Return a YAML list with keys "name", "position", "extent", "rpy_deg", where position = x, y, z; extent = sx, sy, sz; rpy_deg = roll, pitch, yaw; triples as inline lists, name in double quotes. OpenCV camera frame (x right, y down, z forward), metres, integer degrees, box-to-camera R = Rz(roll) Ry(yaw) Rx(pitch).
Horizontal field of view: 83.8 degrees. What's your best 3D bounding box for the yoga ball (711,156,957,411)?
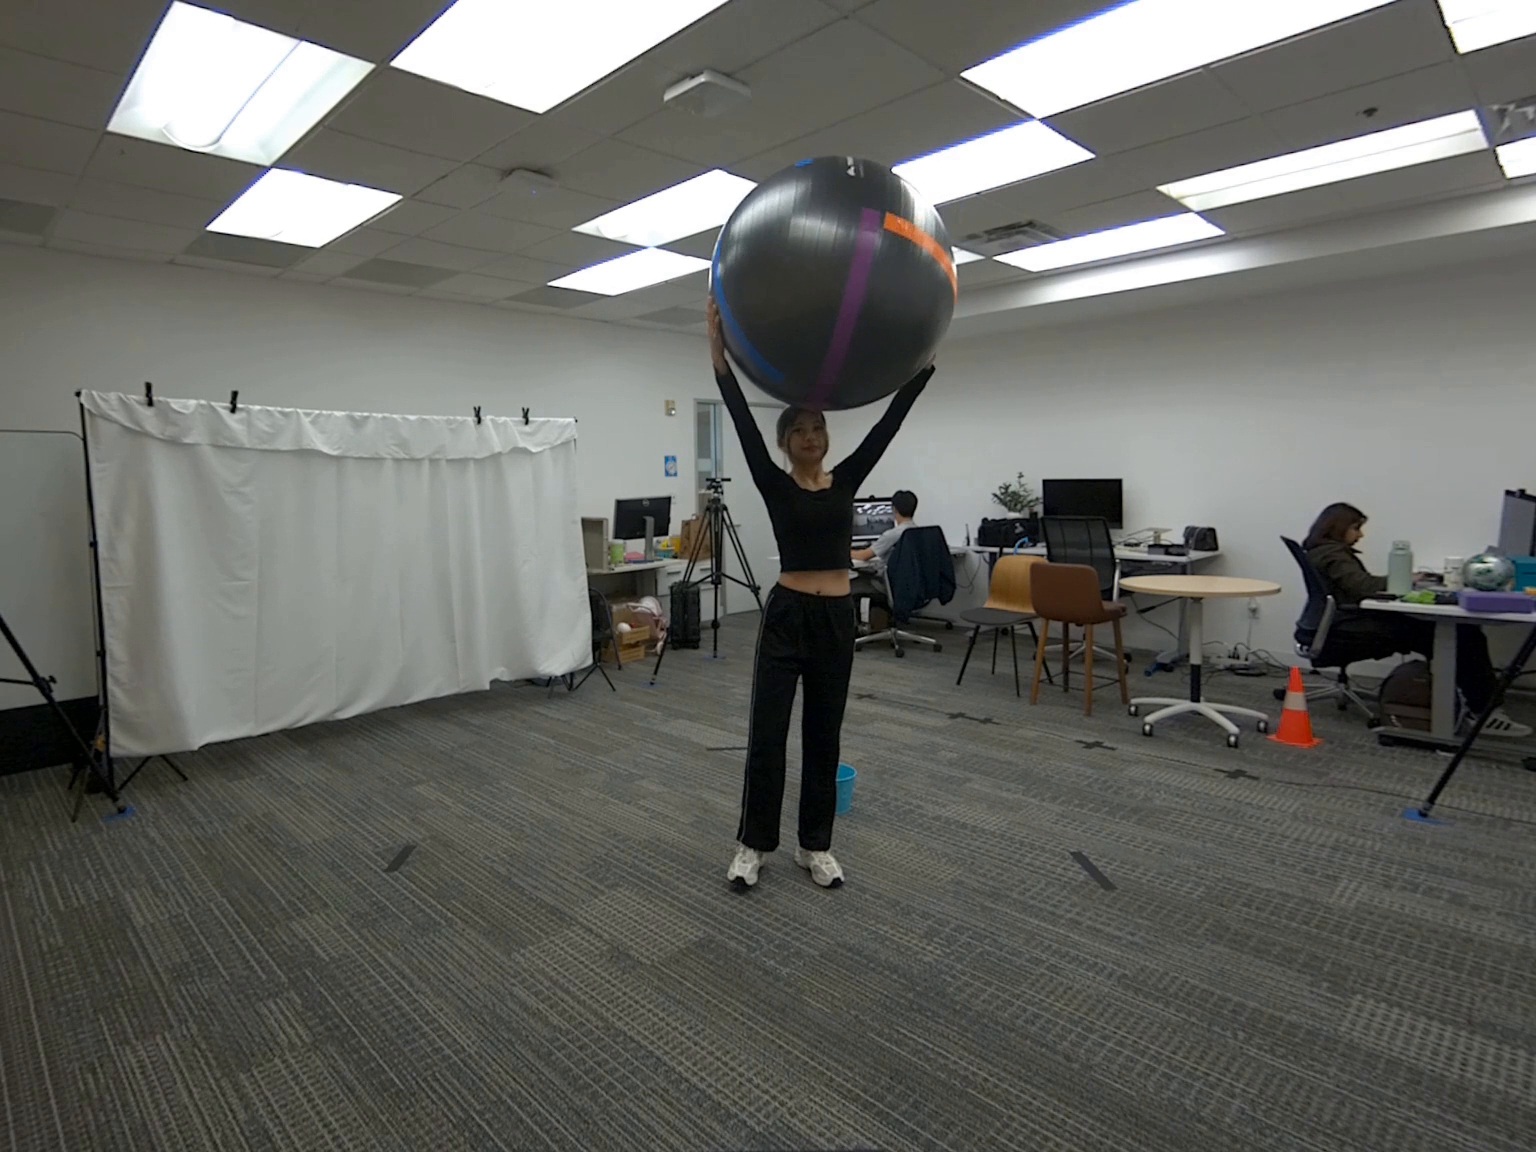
- name: "yoga ball"
  position: [0.195, -0.890, 2.656]
  extent: [0.757, 0.755, 0.762]
  rpy_deg: [-1, 5, -2]
